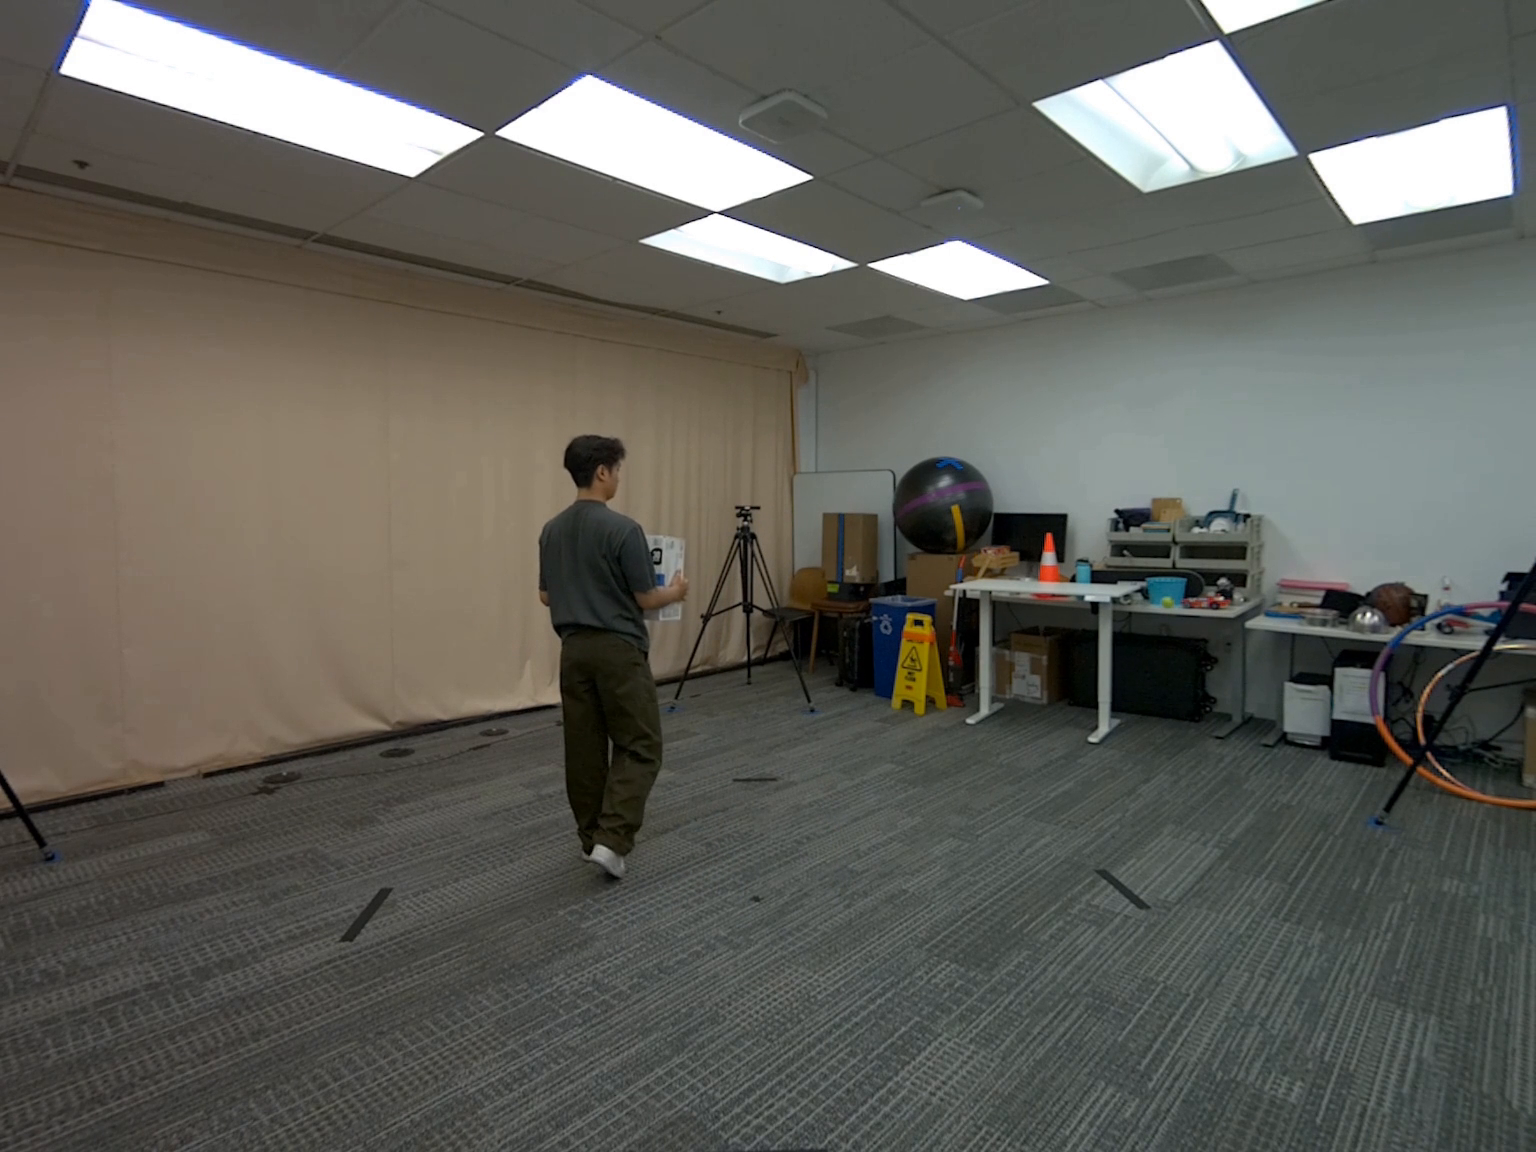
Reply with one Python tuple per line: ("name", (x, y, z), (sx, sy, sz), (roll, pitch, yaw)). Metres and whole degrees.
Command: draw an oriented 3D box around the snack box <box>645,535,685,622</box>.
("snack box", (-0.571, -0.001, 3.517), (0.415, 0.340, 0.201), (3, -1, 23))
